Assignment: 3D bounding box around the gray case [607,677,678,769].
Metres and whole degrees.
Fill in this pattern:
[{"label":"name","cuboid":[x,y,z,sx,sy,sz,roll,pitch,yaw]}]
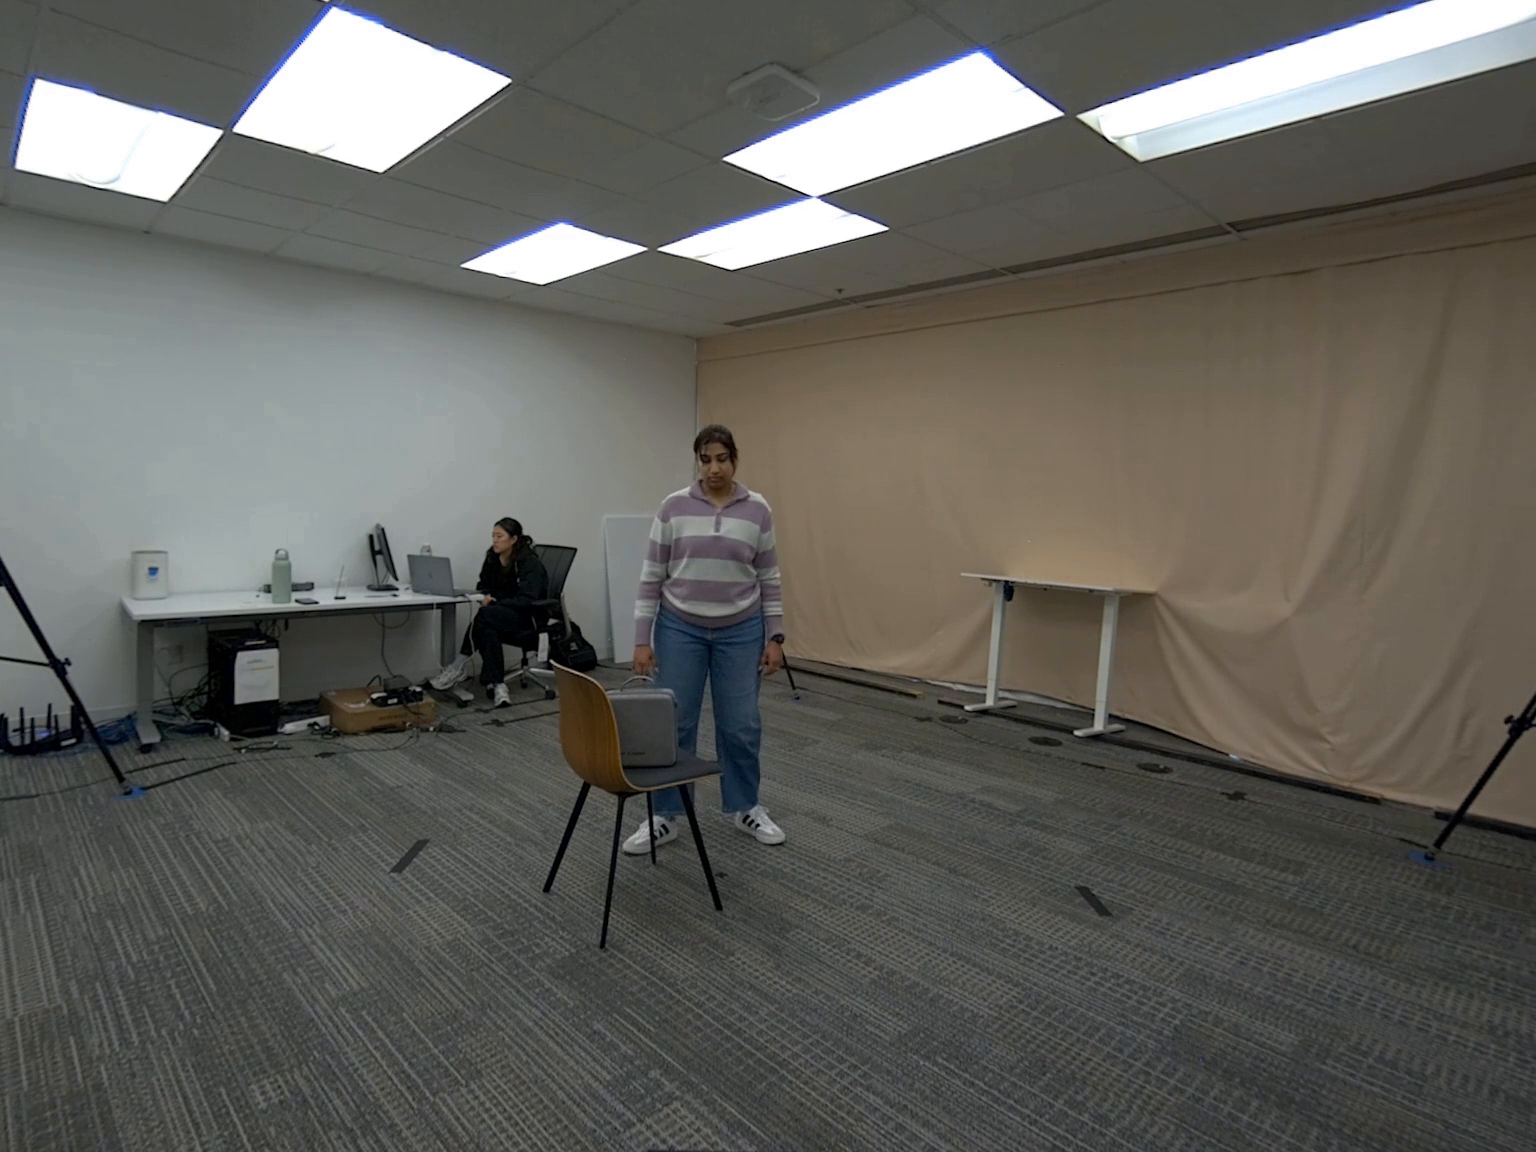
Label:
[{"label":"gray case","cuboid":[-0.454,0.508,2.855,0.257,0.260,0.104,-1,4,0]}]
